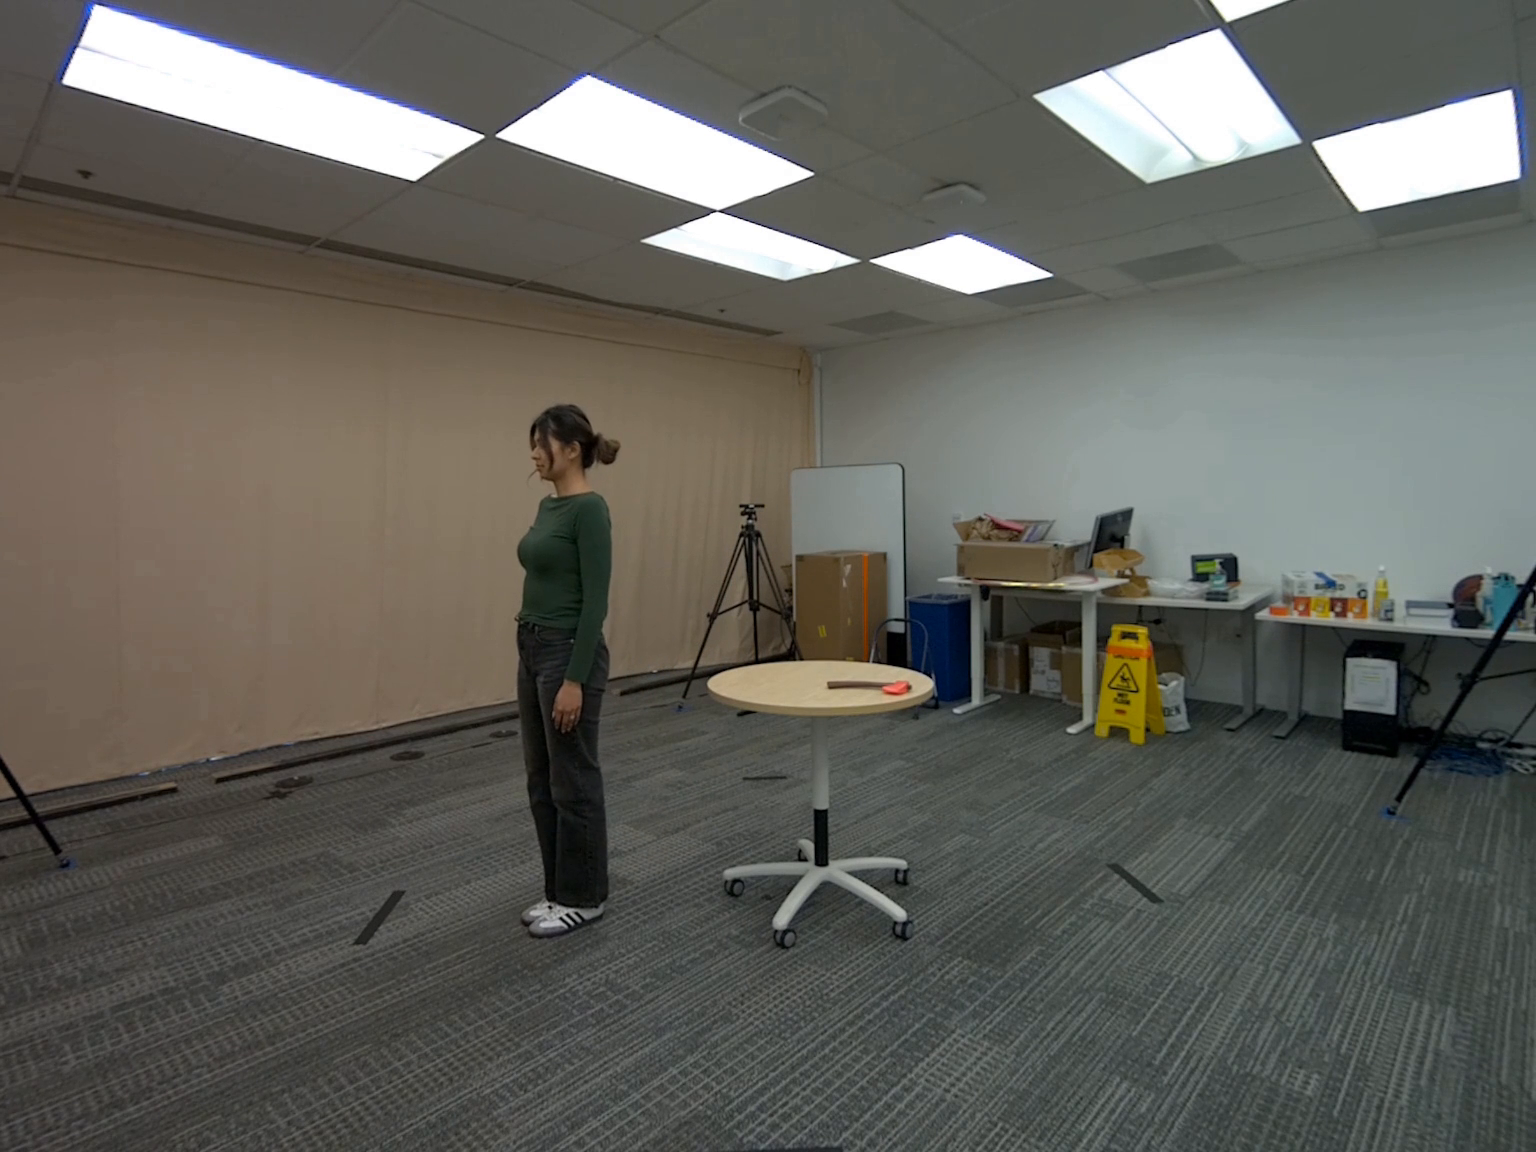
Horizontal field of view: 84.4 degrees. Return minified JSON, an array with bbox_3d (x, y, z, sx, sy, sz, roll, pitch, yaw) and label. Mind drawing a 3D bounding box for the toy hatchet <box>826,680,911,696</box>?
[{"bbox_3d":[0.334,0.363,2.697,0.271,0.029,0.131,-3,6,4],"label":"toy hatchet"}]
